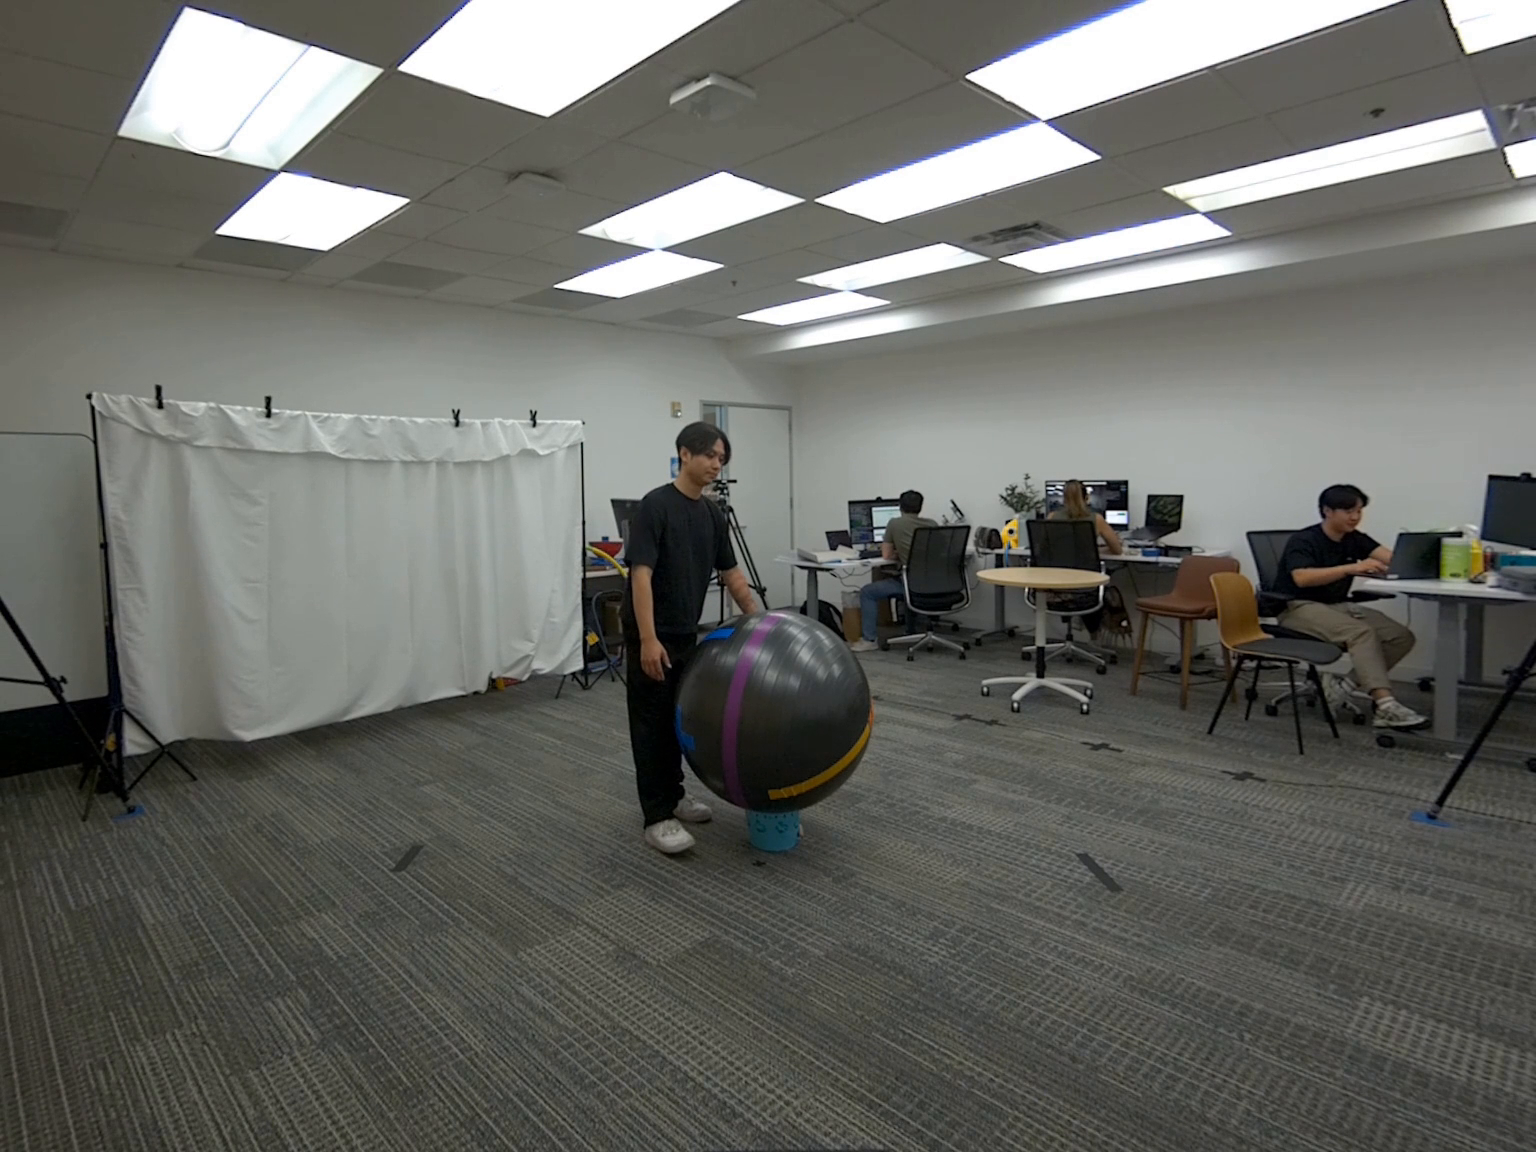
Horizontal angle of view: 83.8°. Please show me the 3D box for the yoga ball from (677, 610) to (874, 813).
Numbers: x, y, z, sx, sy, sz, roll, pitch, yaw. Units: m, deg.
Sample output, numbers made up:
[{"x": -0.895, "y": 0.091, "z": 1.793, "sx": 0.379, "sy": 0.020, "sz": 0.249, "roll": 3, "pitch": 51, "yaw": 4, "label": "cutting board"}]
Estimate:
[{"x": 0.026, "y": 0.514, "z": 3.282, "sx": 0.757, "sy": 0.755, "sz": 0.762, "roll": -1, "pitch": 5, "yaw": -2, "label": "yoga ball"}]
